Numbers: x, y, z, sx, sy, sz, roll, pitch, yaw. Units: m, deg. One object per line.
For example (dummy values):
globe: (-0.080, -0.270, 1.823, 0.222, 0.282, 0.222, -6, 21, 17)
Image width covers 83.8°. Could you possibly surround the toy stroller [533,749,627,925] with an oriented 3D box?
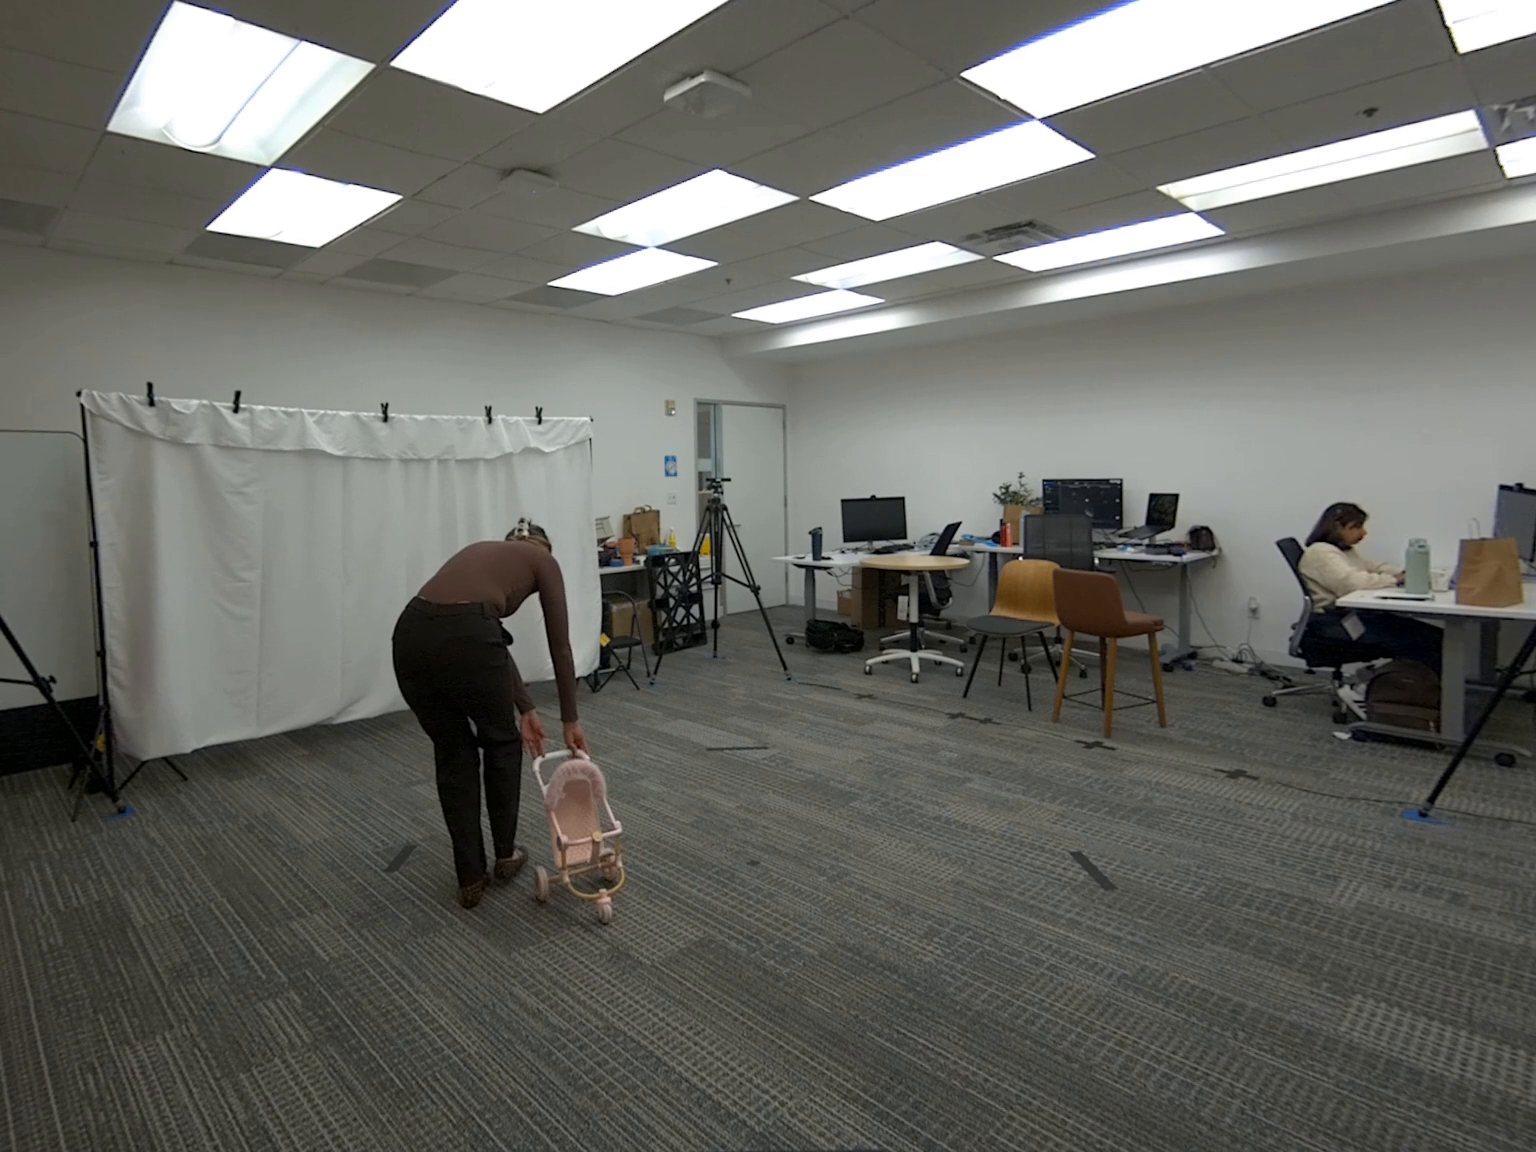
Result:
toy stroller: (-0.622, 0.849, 2.859, 0.275, 0.540, 0.345, -5, -10, -28)
